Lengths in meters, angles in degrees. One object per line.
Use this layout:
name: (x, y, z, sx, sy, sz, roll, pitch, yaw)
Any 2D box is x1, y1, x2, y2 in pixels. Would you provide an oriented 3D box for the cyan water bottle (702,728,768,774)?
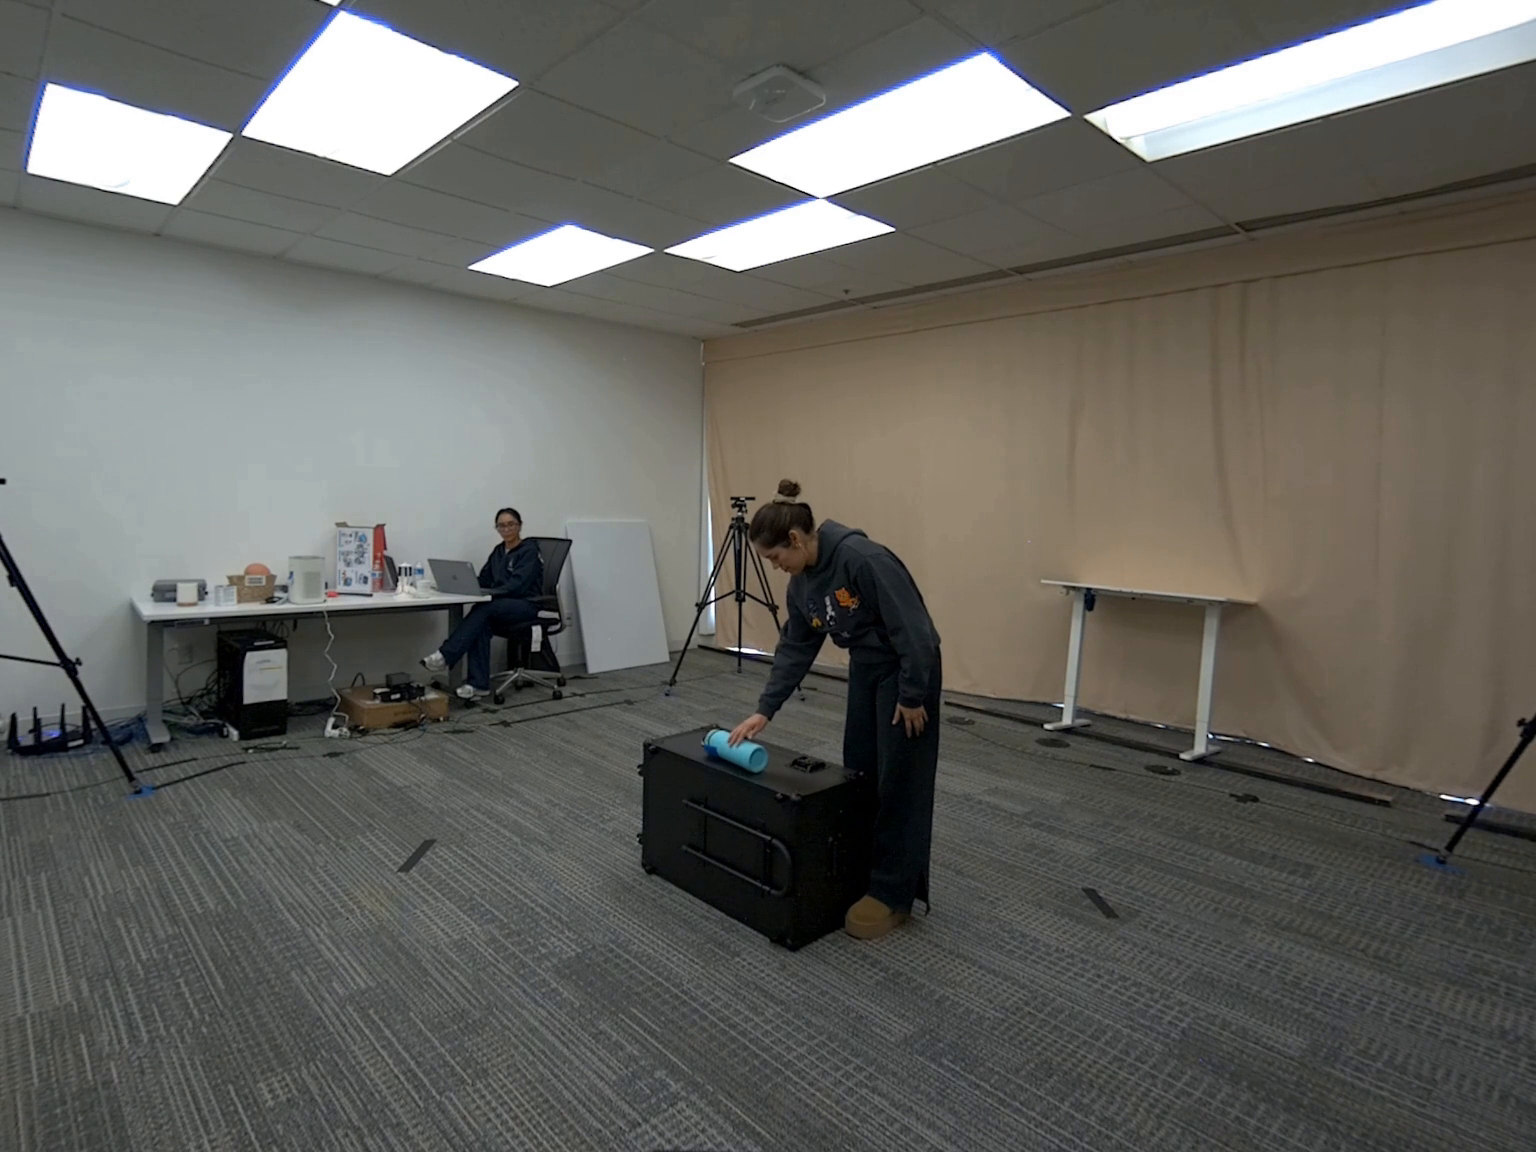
cyan water bottle: (-0.119, 0.591, 2.917, 0.090, 0.092, 0.291, -3, 7, -39)
